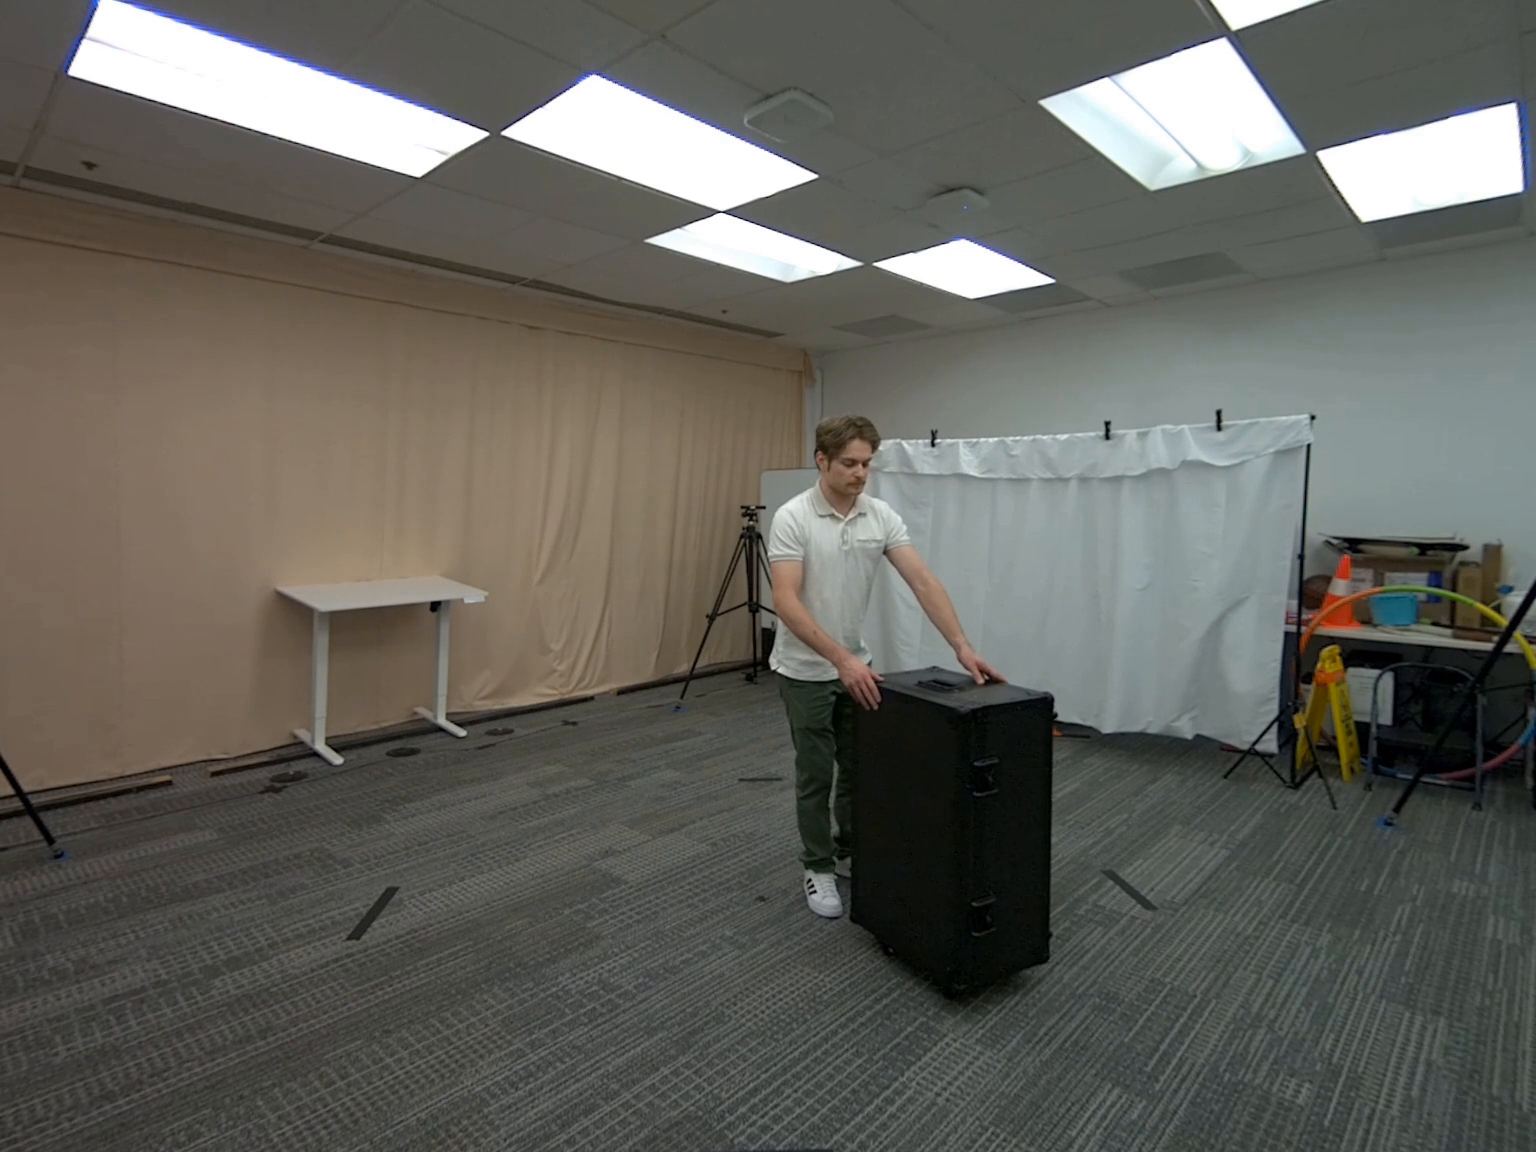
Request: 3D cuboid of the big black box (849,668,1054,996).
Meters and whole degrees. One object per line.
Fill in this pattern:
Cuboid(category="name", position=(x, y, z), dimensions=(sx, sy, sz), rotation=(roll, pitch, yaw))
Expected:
Cuboid(category="big black box", position=(0.548, 0.758, 2.548), dimensions=(0.375, 0.866, 0.539), rotation=(-2, 5, -30))
